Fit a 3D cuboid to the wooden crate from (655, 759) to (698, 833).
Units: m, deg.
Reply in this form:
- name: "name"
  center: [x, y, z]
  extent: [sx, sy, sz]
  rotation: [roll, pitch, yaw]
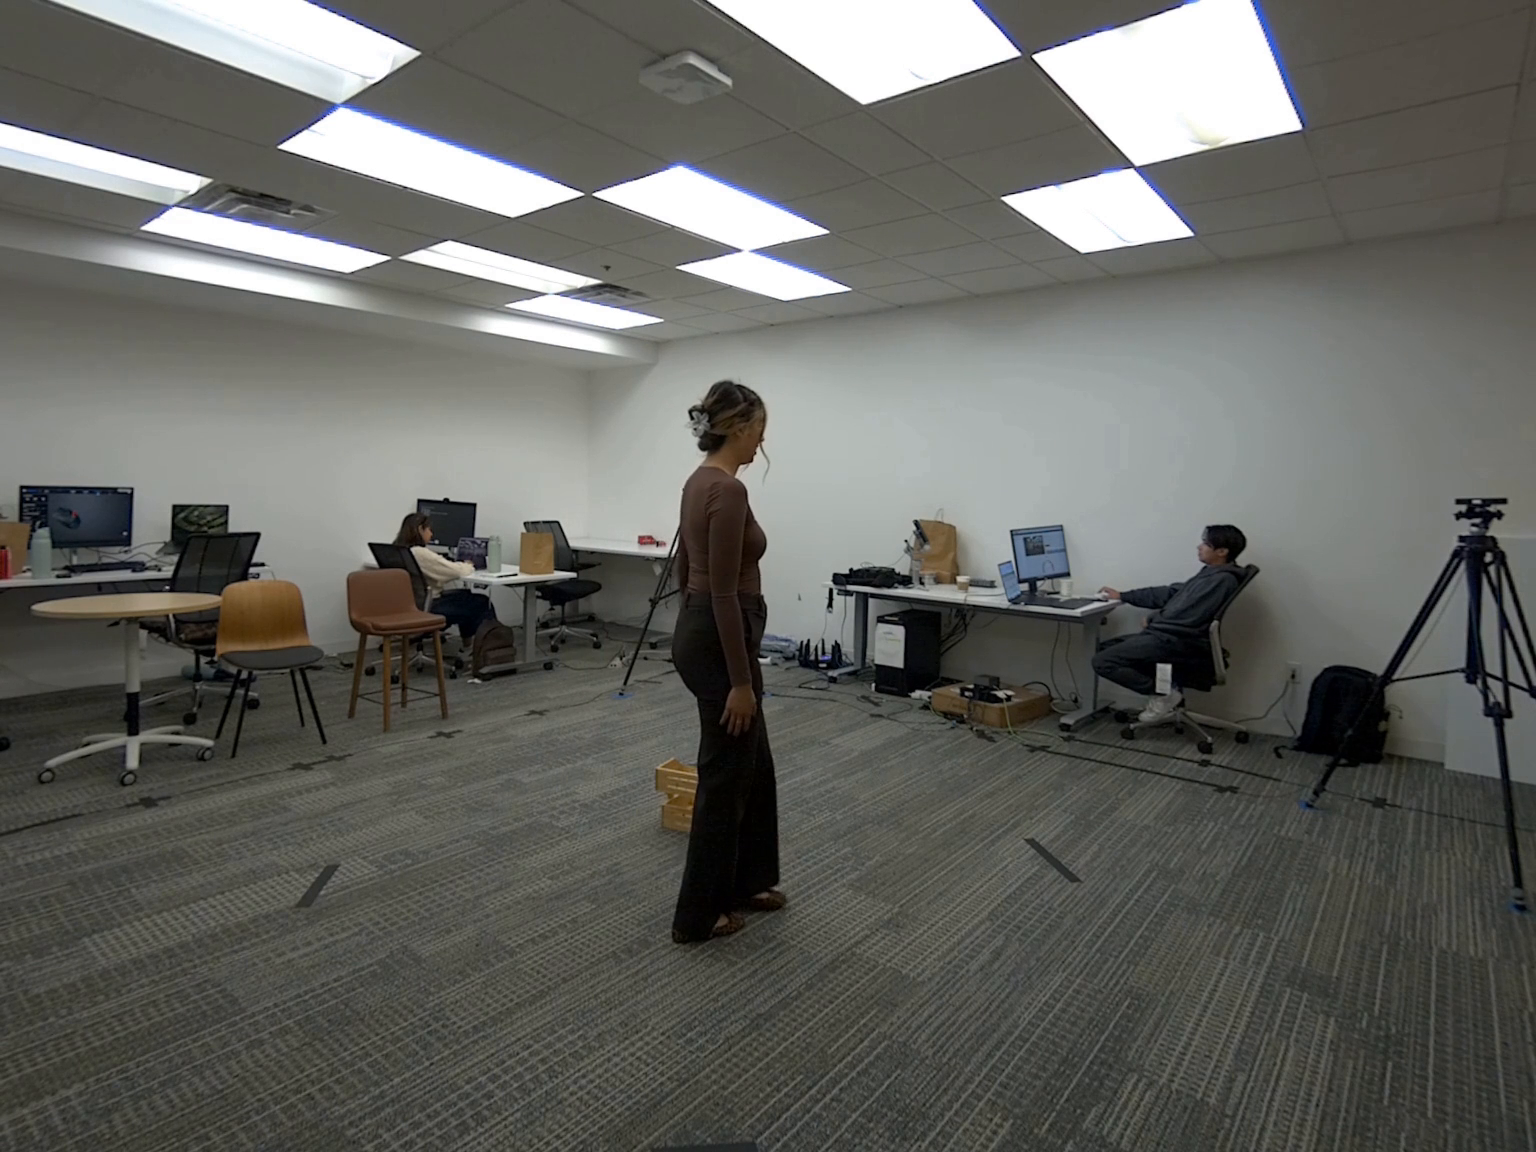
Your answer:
- name: "wooden crate"
  center: [-0.272, 0.895, 3.517]
  extent: [0.333, 0.272, 0.295]
  rotation: [3, 5, 25]
